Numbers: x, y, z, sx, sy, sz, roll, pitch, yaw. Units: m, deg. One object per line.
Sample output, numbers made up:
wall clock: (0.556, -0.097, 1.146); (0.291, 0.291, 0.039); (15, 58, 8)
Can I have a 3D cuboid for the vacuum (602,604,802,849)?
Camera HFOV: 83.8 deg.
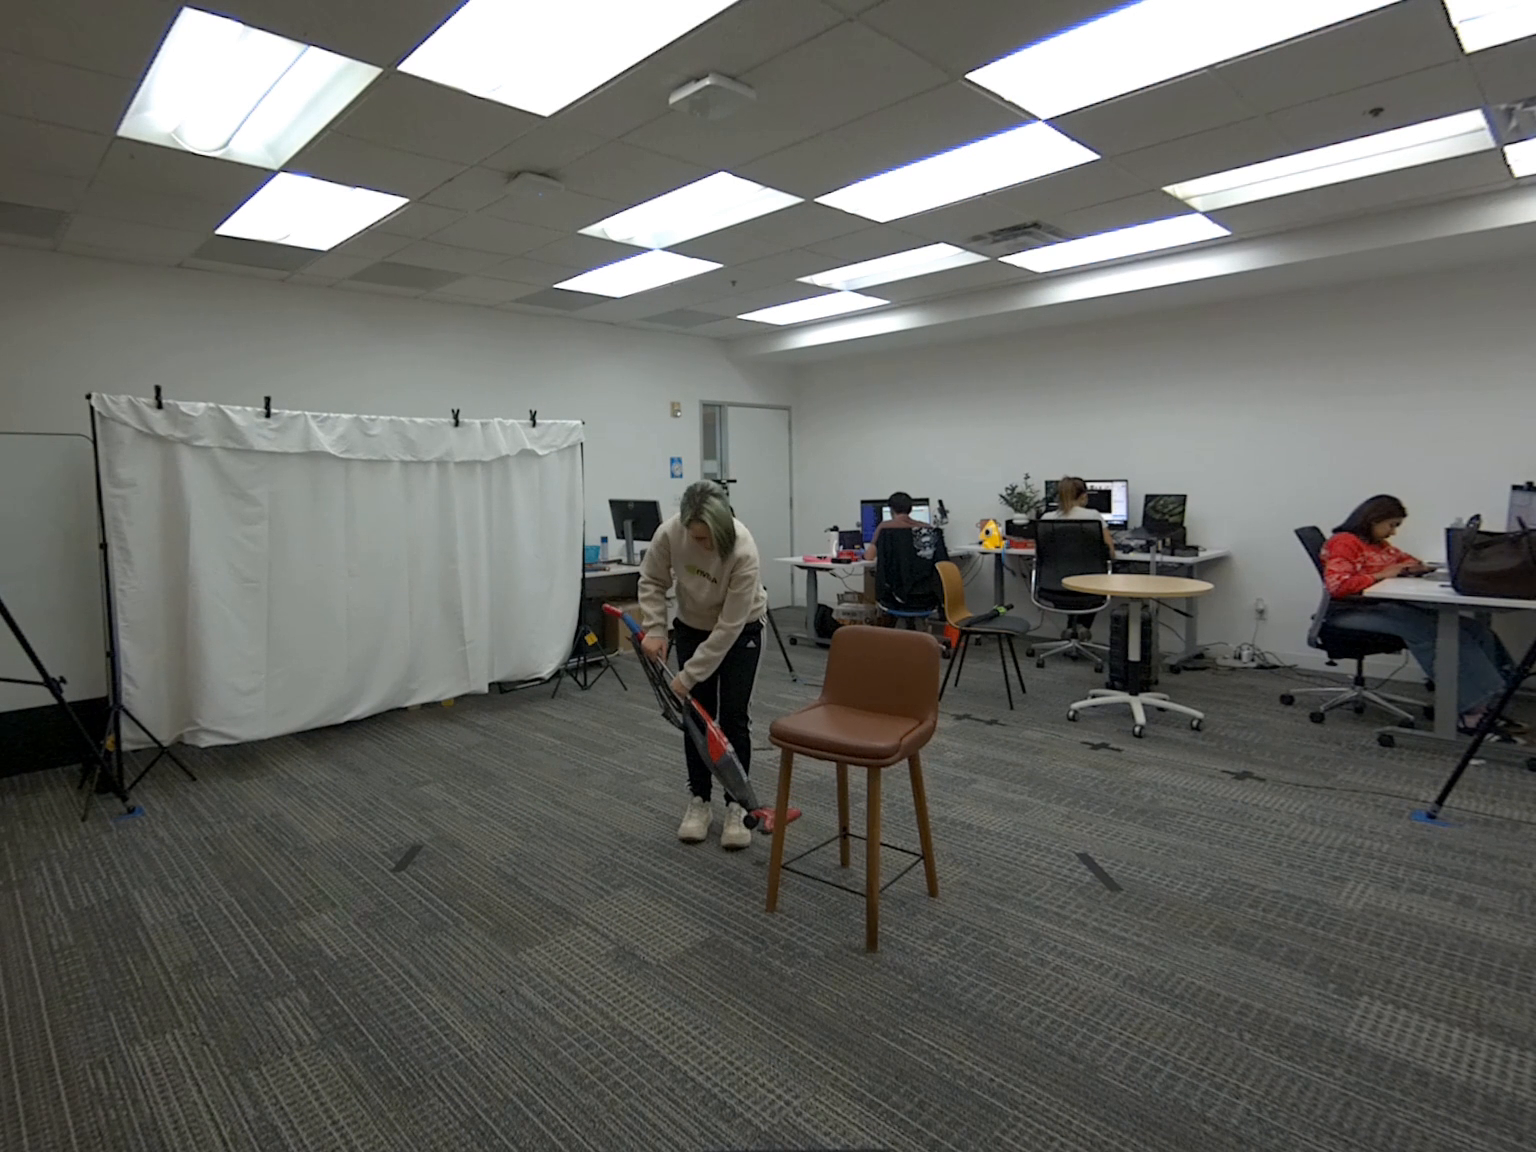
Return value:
vacuum: (-0.310, 0.509, 3.249); (1.078, 0.143, 0.247); (49, 30, 21)
